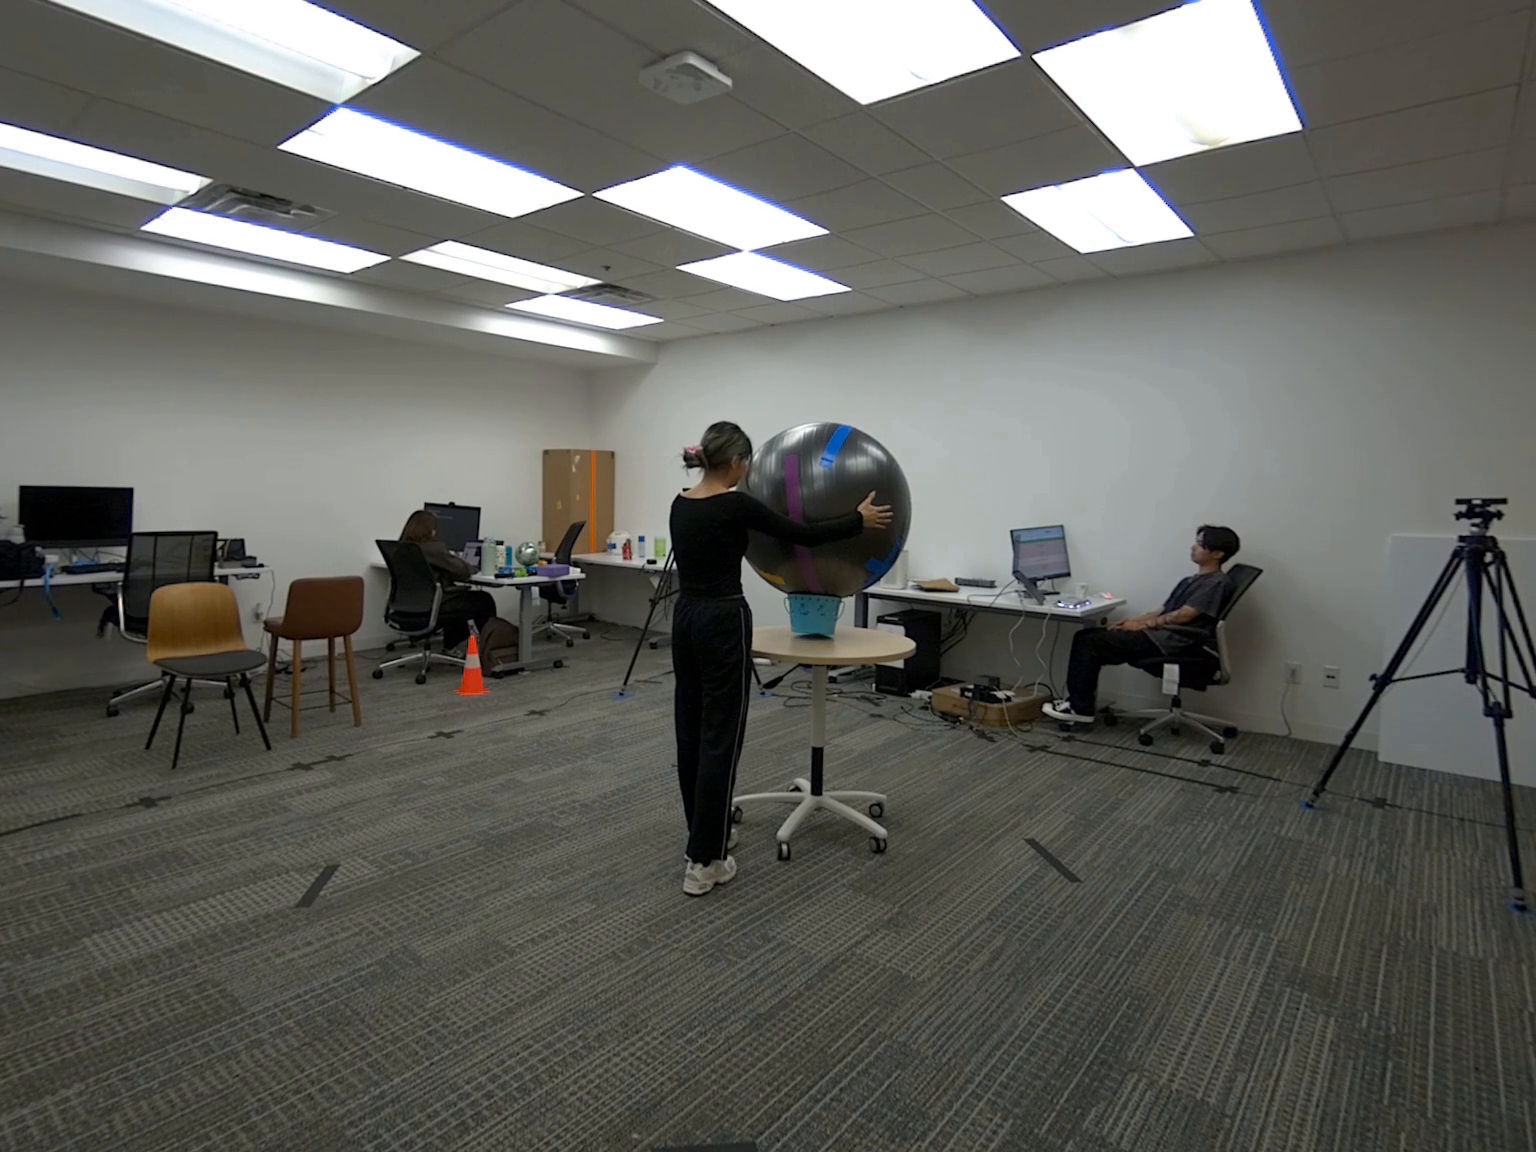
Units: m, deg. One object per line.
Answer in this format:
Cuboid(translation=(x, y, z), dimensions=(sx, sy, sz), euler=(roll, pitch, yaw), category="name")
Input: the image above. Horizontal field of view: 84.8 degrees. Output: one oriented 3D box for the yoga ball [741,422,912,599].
Cuboid(translation=(0.227, -0.274, 3.628), dimensions=(0.757, 0.756, 0.762), euler=(1, 4, -2), category="yoga ball")
